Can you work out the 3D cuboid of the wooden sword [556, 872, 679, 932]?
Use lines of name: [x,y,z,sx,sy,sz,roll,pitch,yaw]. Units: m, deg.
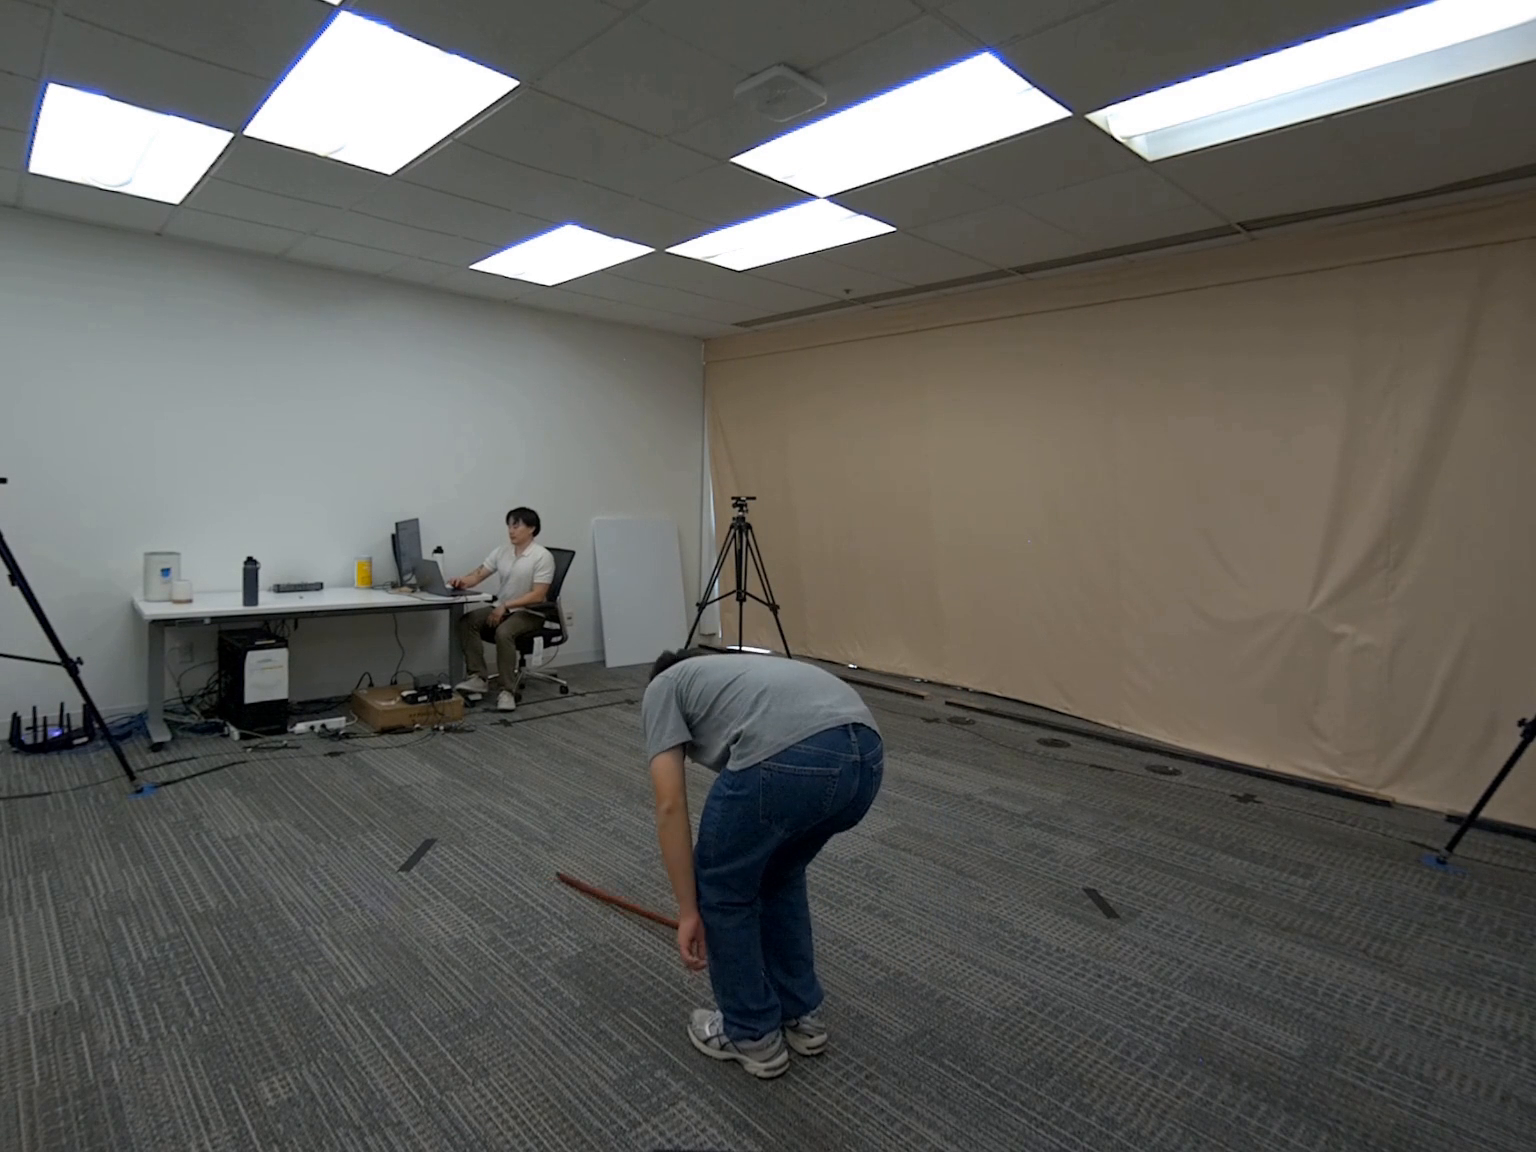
wooden sword: [-0.372,1.089,2.698,1.050,0.024,0.050,2,-19,42]
